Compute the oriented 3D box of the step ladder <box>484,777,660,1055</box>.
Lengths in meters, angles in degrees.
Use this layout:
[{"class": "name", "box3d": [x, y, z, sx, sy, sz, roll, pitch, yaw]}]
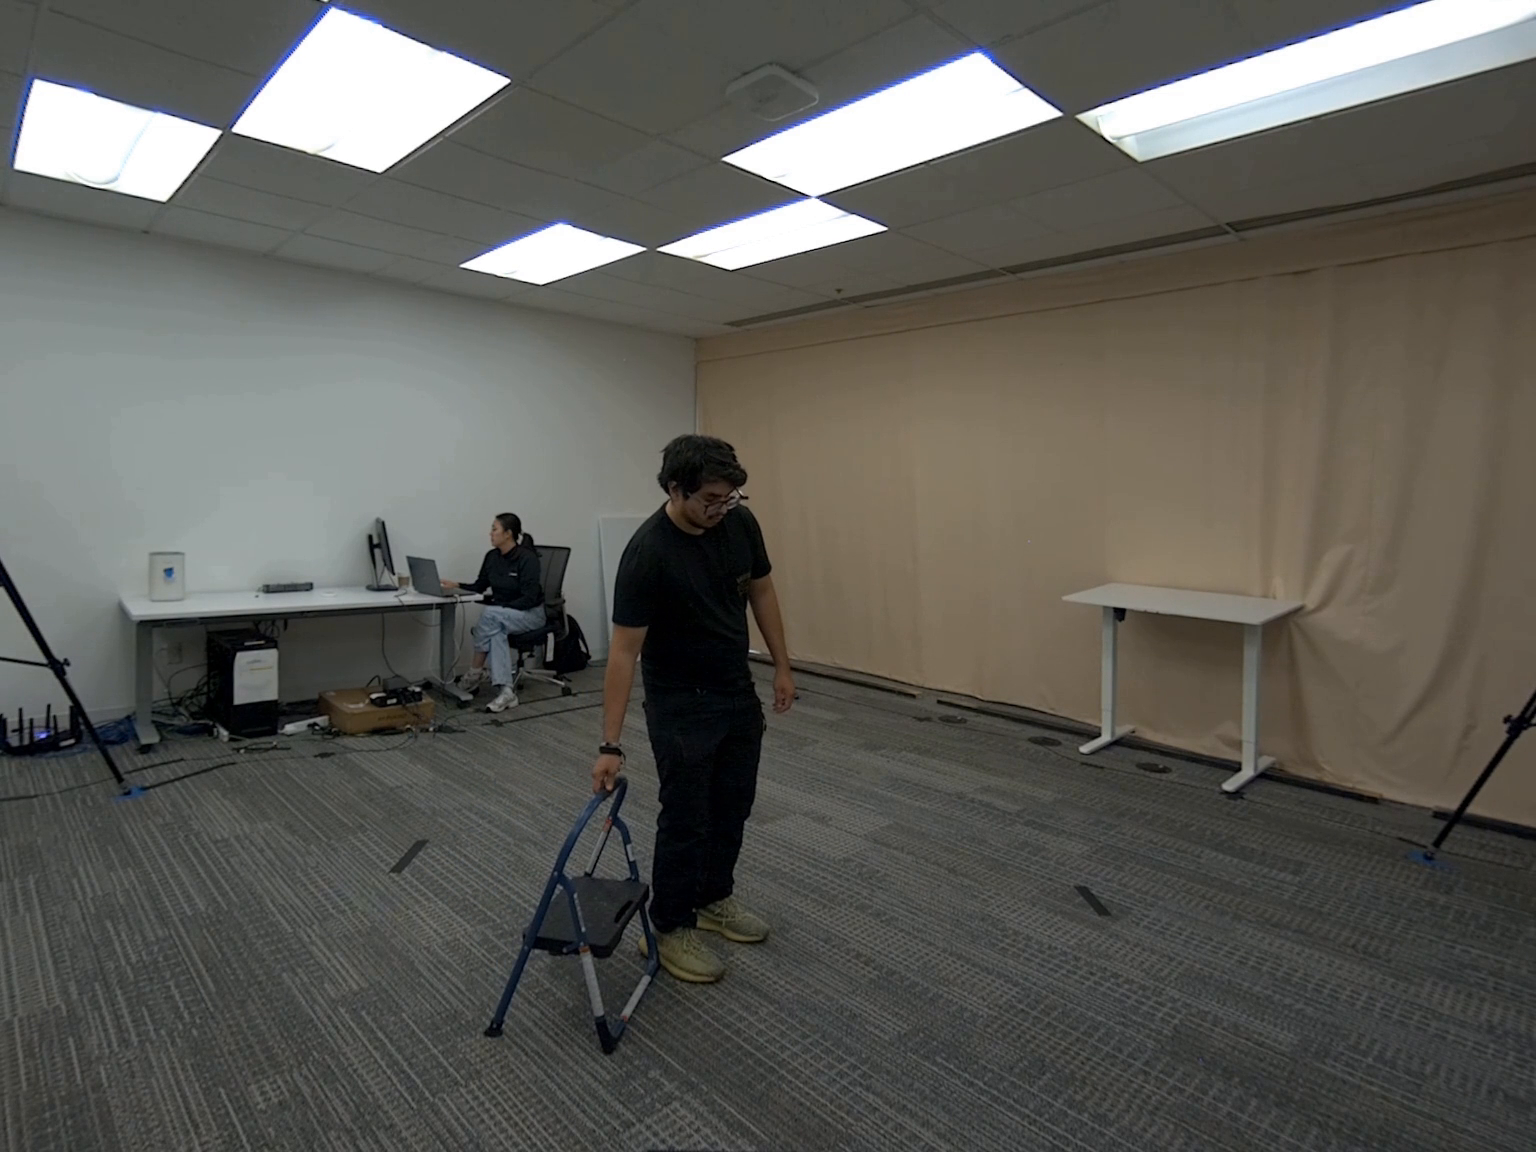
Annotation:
[{"class": "step ladder", "box3d": [-0.519, 0.868, 2.298, 0.352, 0.604, 0.428, 2, 4, 11]}]
